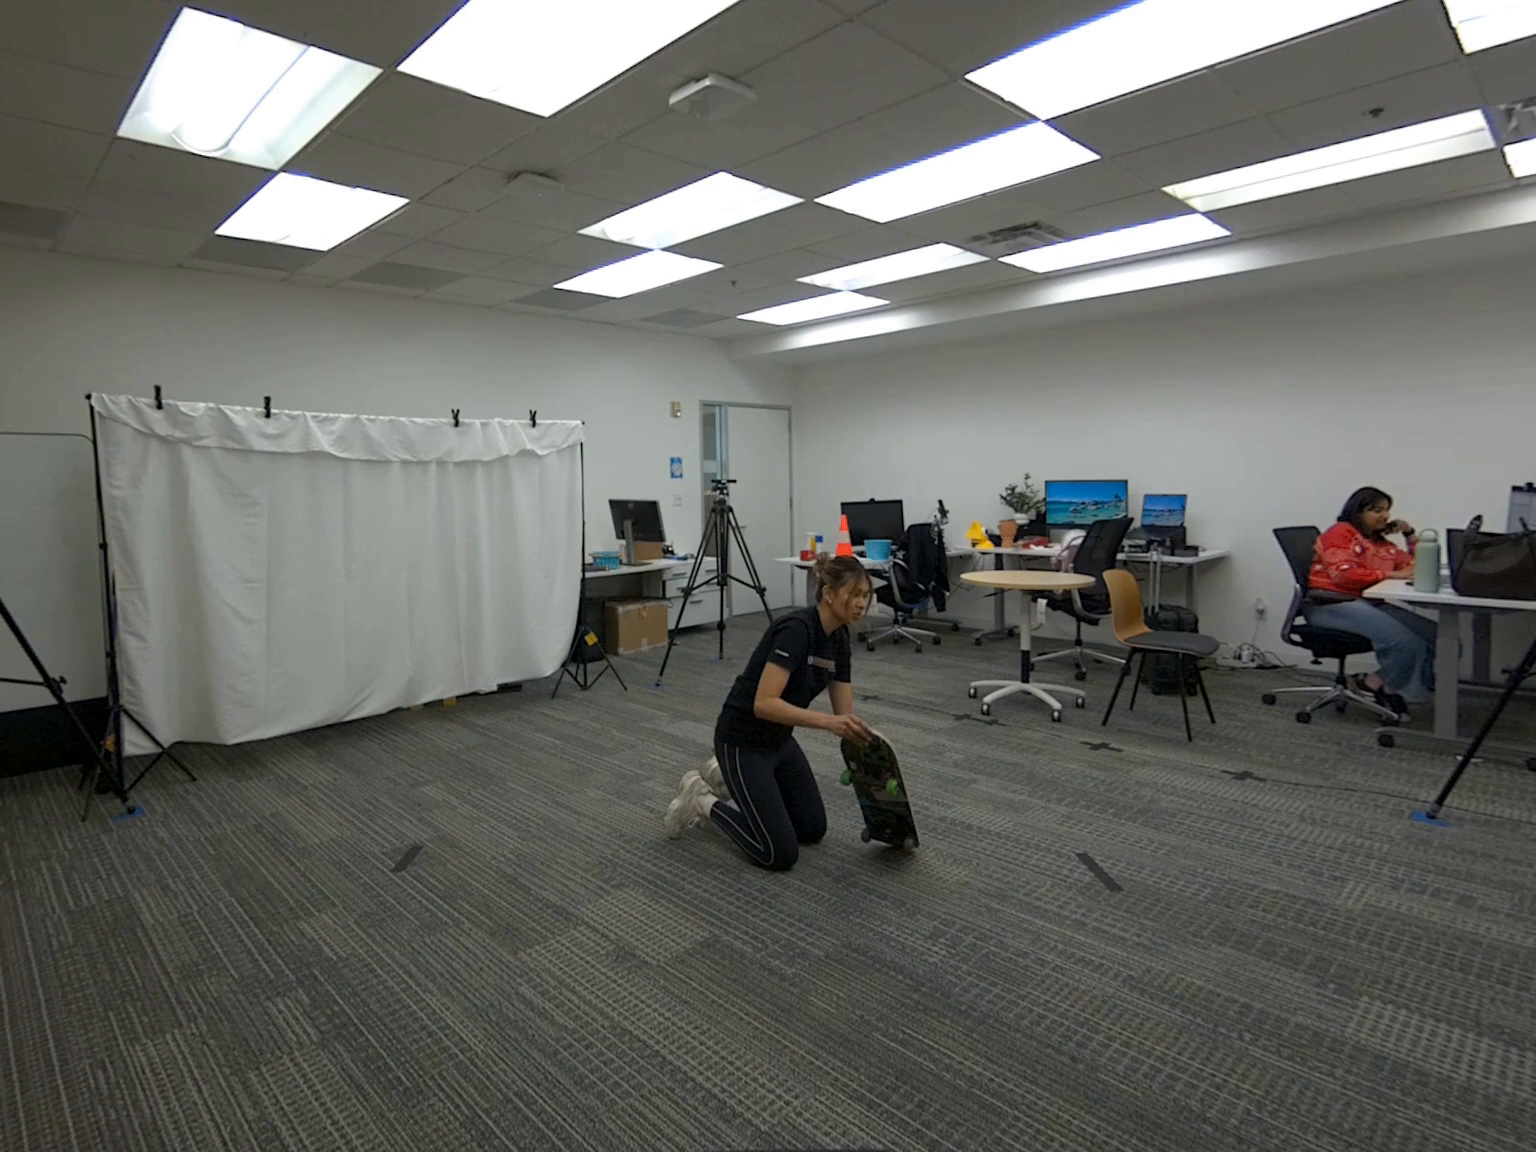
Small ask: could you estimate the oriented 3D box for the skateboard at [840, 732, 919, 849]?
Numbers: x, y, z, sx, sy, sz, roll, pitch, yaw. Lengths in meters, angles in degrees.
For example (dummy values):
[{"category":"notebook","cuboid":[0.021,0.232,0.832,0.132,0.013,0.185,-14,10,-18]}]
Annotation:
[{"category":"skateboard","cuboid":[0.389,0.791,2.952,0.198,0.758,0.111,6,48,25]}]
